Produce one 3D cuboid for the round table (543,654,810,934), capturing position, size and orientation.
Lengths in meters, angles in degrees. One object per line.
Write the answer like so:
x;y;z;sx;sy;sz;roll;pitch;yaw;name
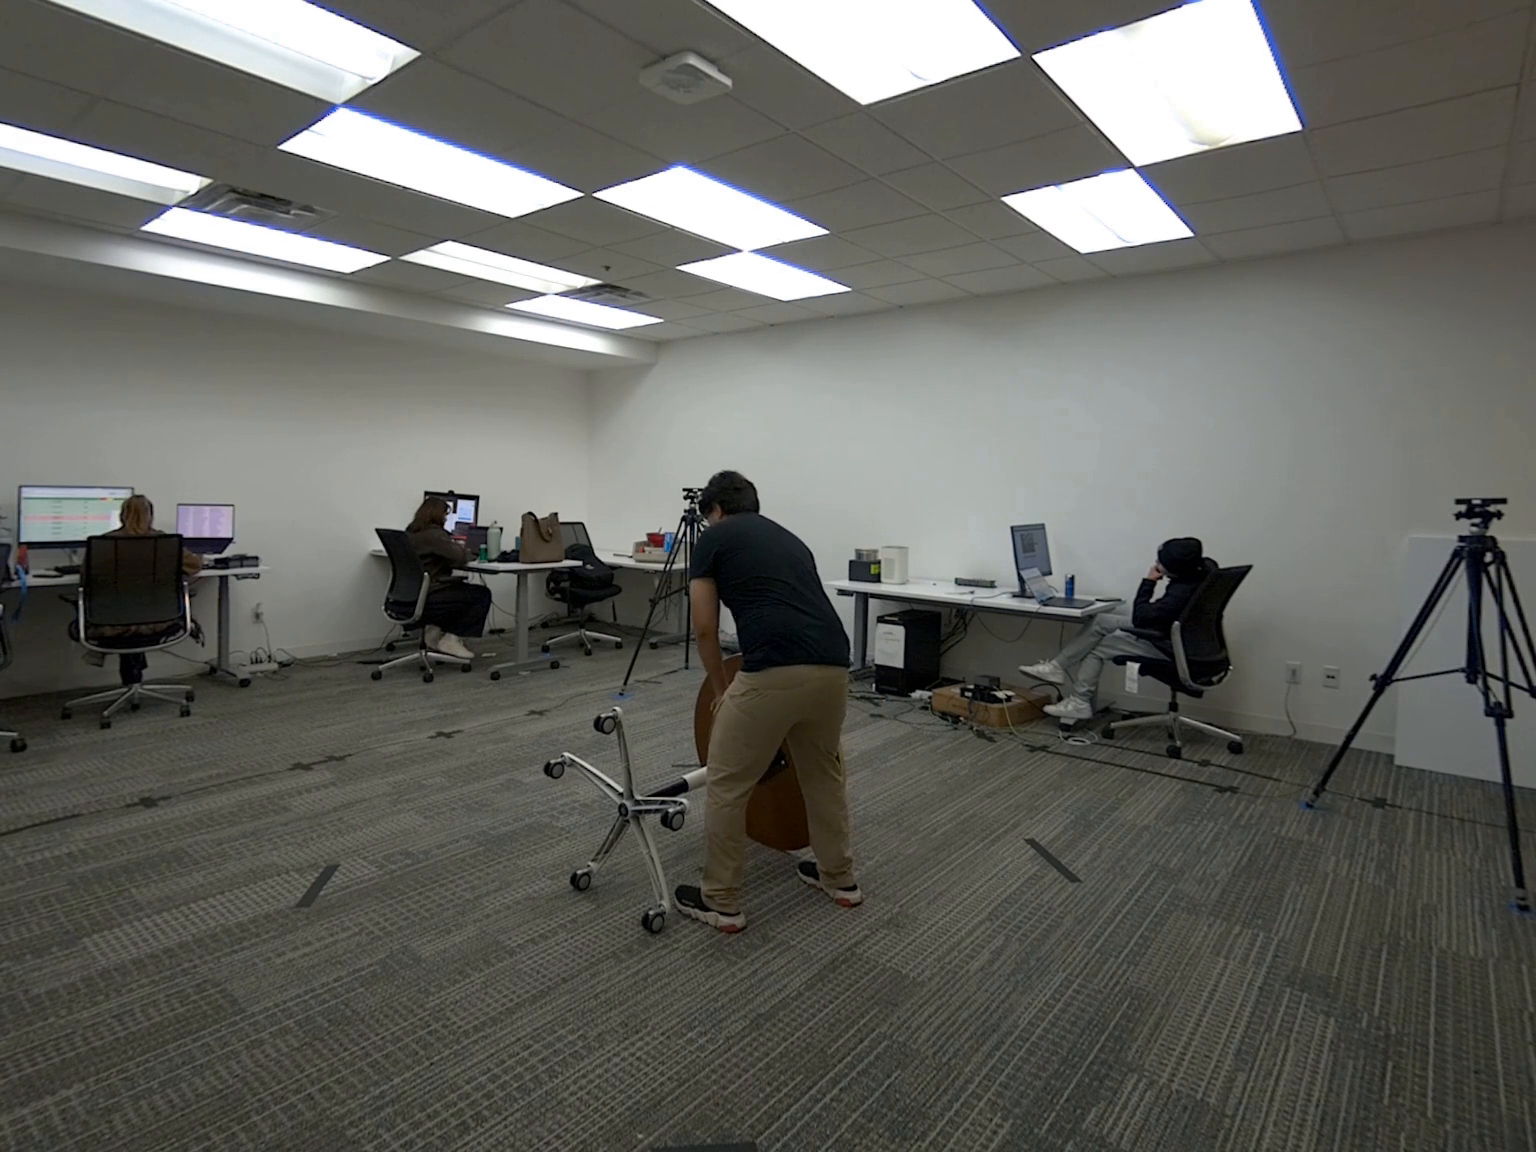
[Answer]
-0.284;0.719;3.030;0.812;0.780;0.765;5;9;43;round table
